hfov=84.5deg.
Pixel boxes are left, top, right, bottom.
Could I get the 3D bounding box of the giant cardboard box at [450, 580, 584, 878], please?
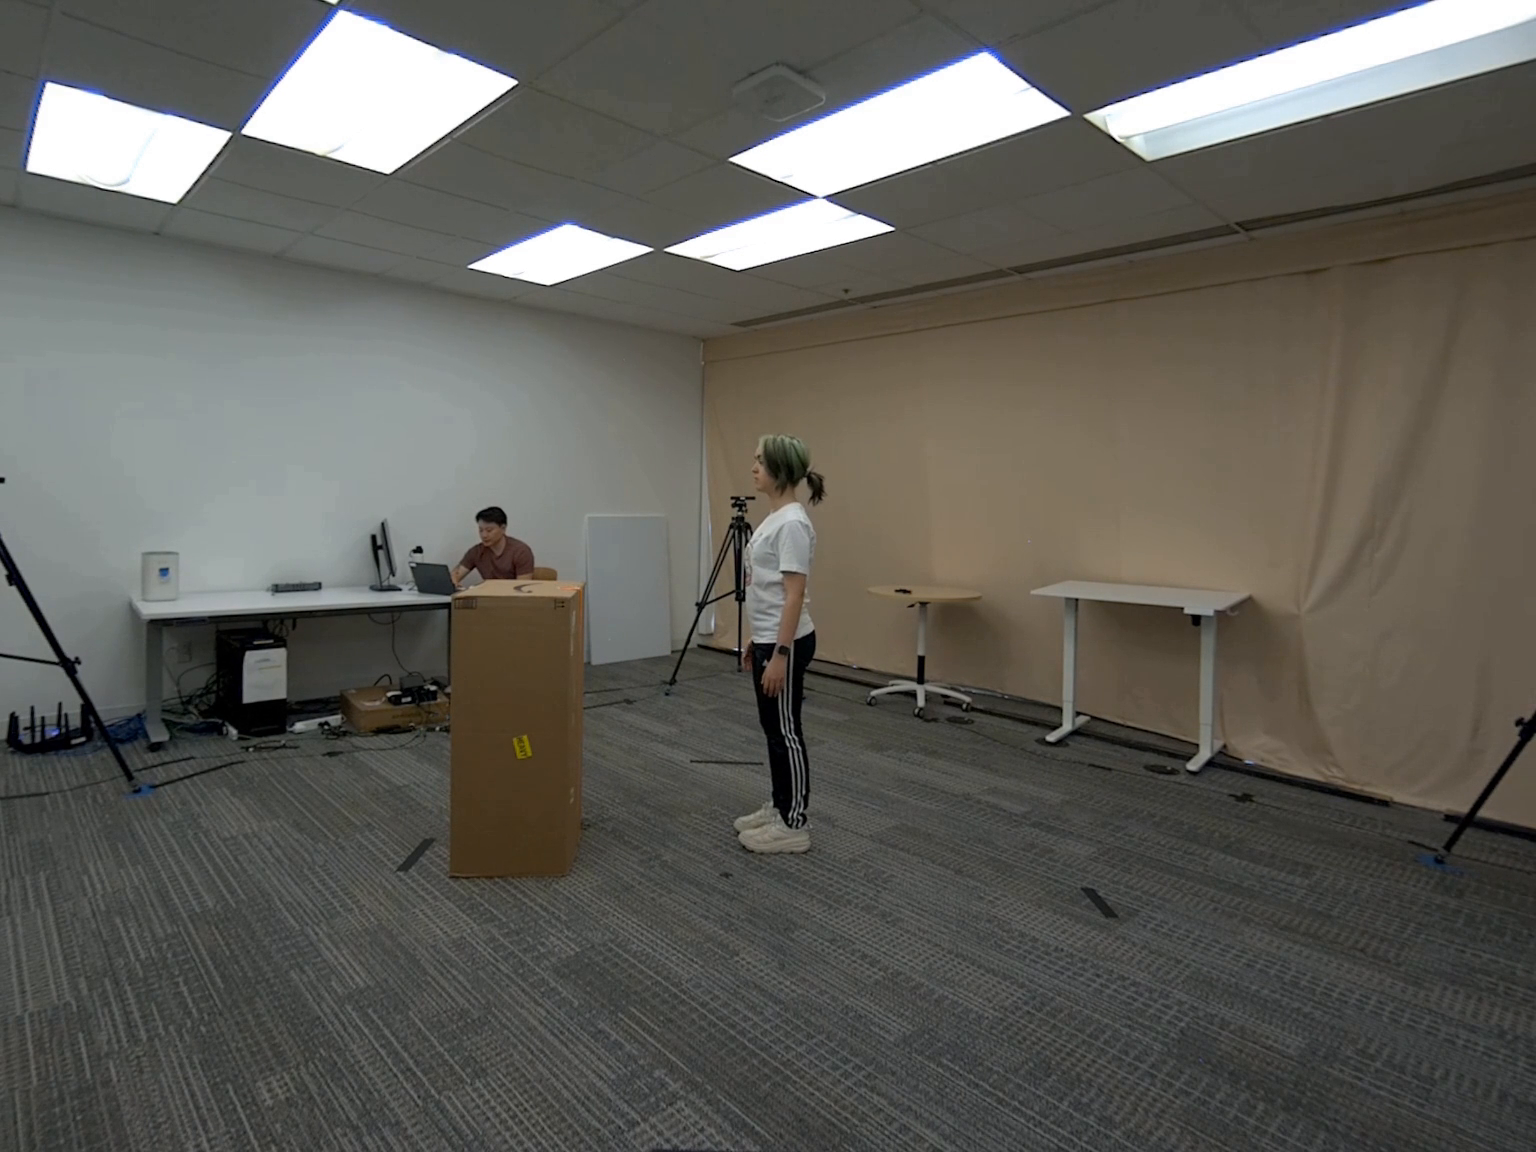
[{"bbox_3d":[-0.970,0.561,3.303,0.444,1.025,0.588,0,3,-7],"label":"giant cardboard box"}]
